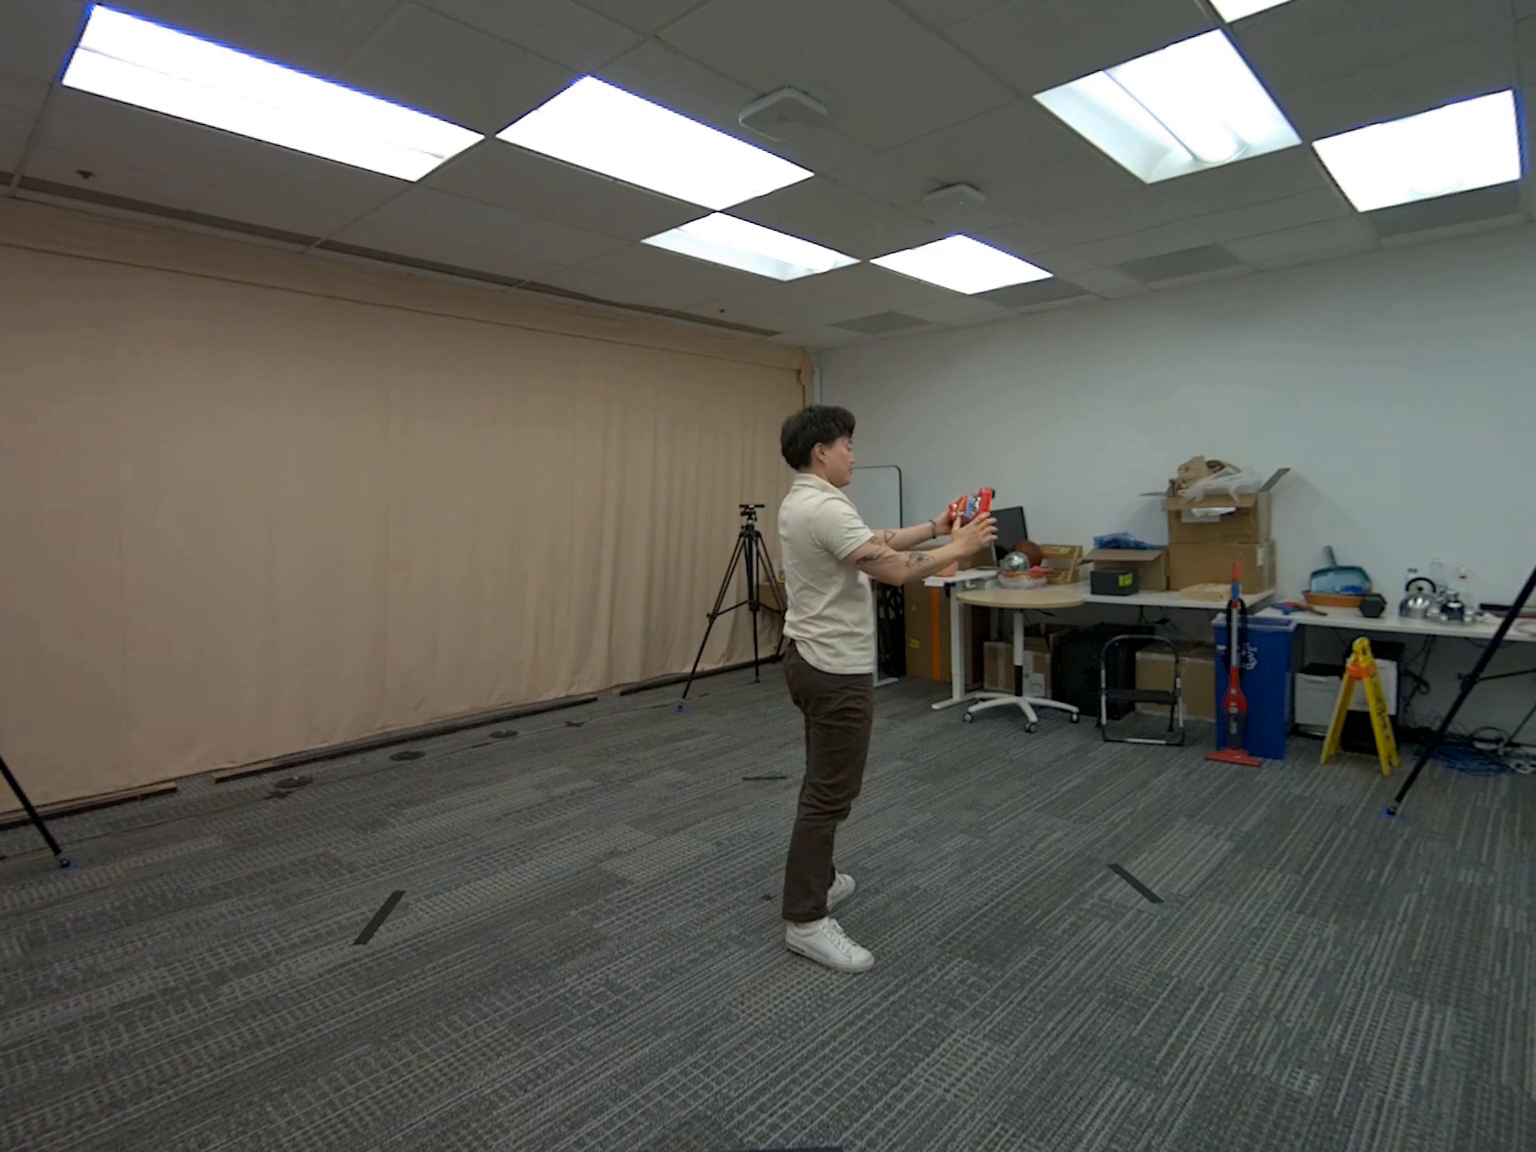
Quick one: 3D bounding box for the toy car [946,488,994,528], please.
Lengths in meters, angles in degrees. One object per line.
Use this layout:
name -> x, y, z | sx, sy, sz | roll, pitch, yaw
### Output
toy car -> 0.679, -0.214, 2.771 | 0.081, 0.131, 0.259 | 14, -8, -19
